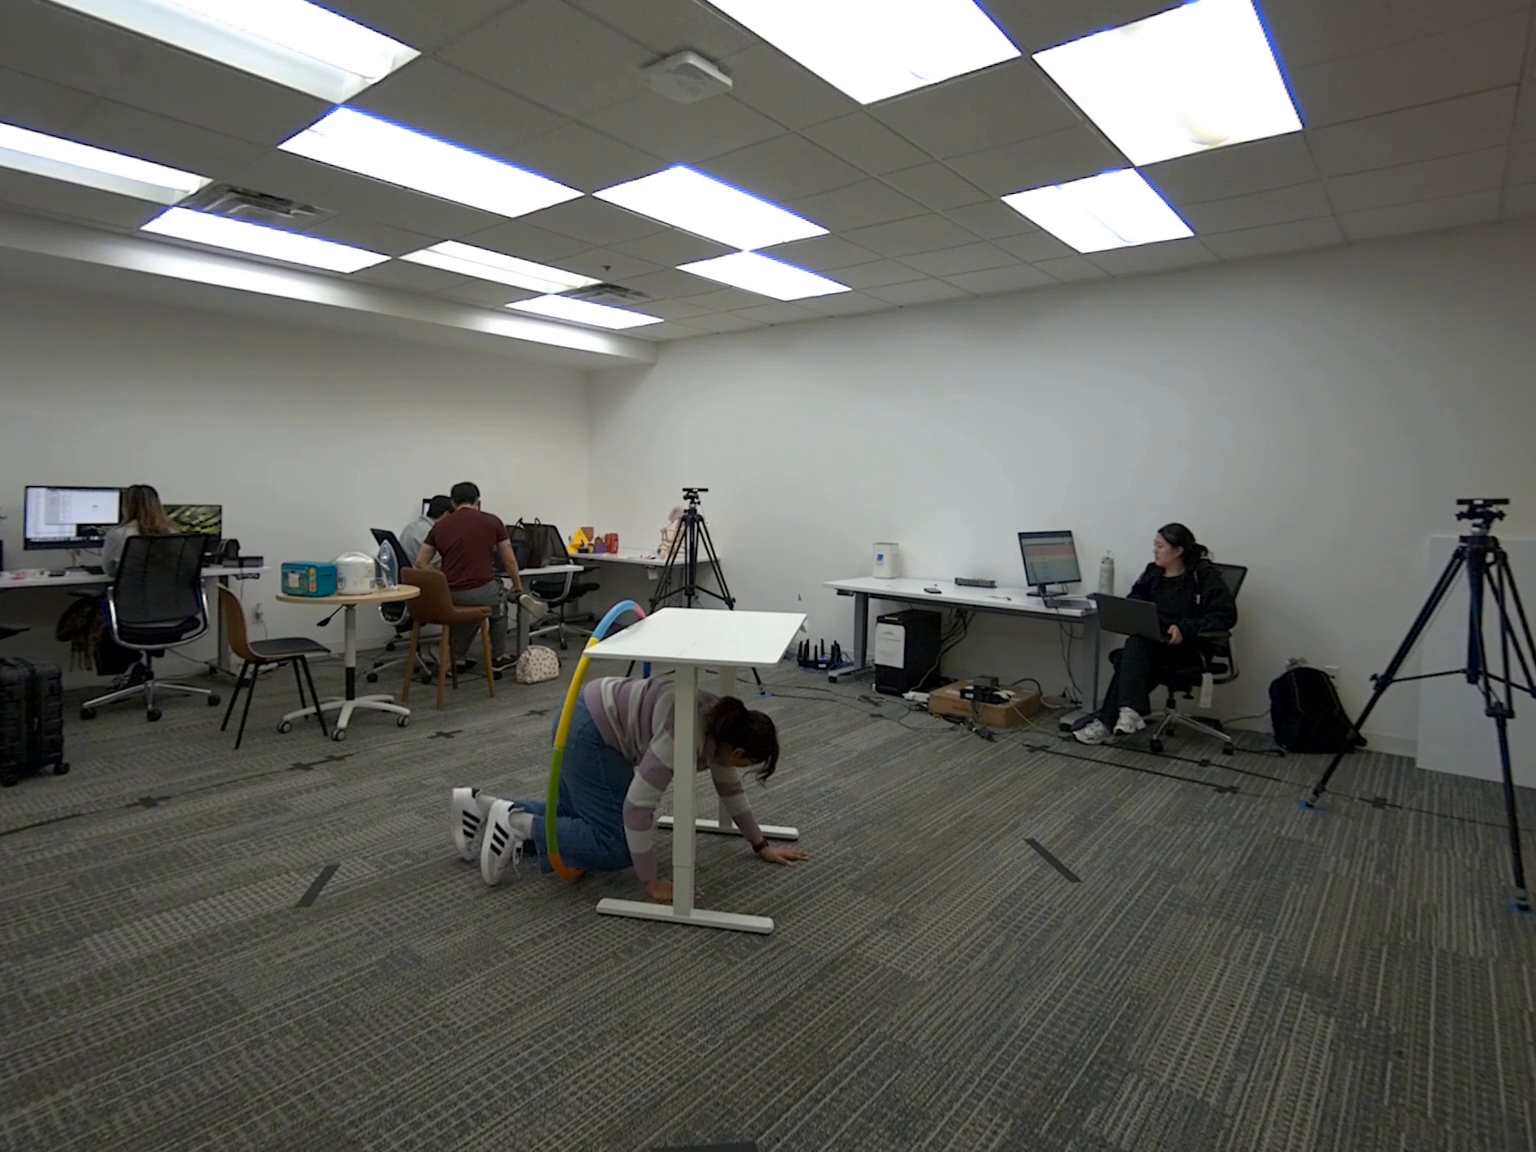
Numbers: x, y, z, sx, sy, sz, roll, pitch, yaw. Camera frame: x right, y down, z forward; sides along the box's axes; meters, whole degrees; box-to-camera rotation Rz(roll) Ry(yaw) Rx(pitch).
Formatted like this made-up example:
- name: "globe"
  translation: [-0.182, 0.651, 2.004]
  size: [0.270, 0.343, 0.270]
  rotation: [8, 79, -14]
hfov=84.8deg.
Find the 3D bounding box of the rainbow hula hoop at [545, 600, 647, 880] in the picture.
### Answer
- name: "rainbow hula hoop"
  translation: [-0.605, 0.586, 3.086]
  size: [0.036, 0.975, 0.970]
  rotation: [9, 5, 8]
